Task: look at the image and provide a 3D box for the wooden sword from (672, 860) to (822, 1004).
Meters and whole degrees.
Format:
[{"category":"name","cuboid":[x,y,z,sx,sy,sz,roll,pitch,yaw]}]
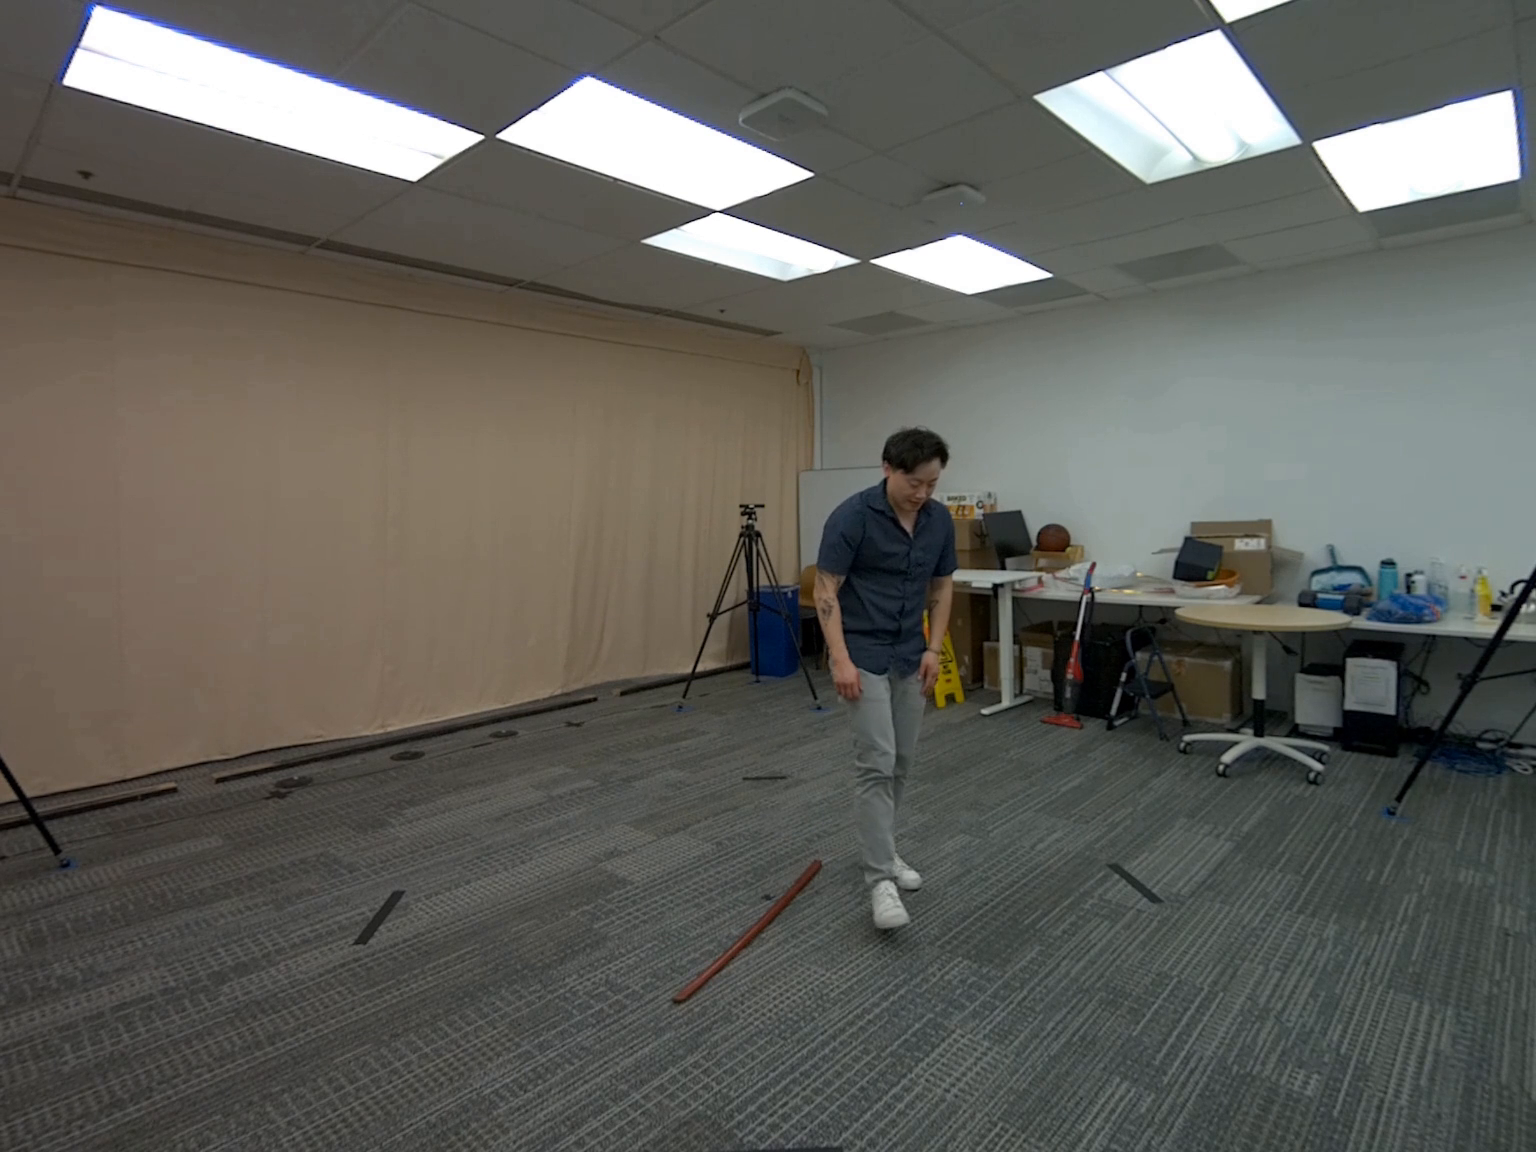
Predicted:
[{"category":"wooden sword","cuboid":[-0.020,1.132,2.802,0.053,0.024,1.000,23,15,23]}]
